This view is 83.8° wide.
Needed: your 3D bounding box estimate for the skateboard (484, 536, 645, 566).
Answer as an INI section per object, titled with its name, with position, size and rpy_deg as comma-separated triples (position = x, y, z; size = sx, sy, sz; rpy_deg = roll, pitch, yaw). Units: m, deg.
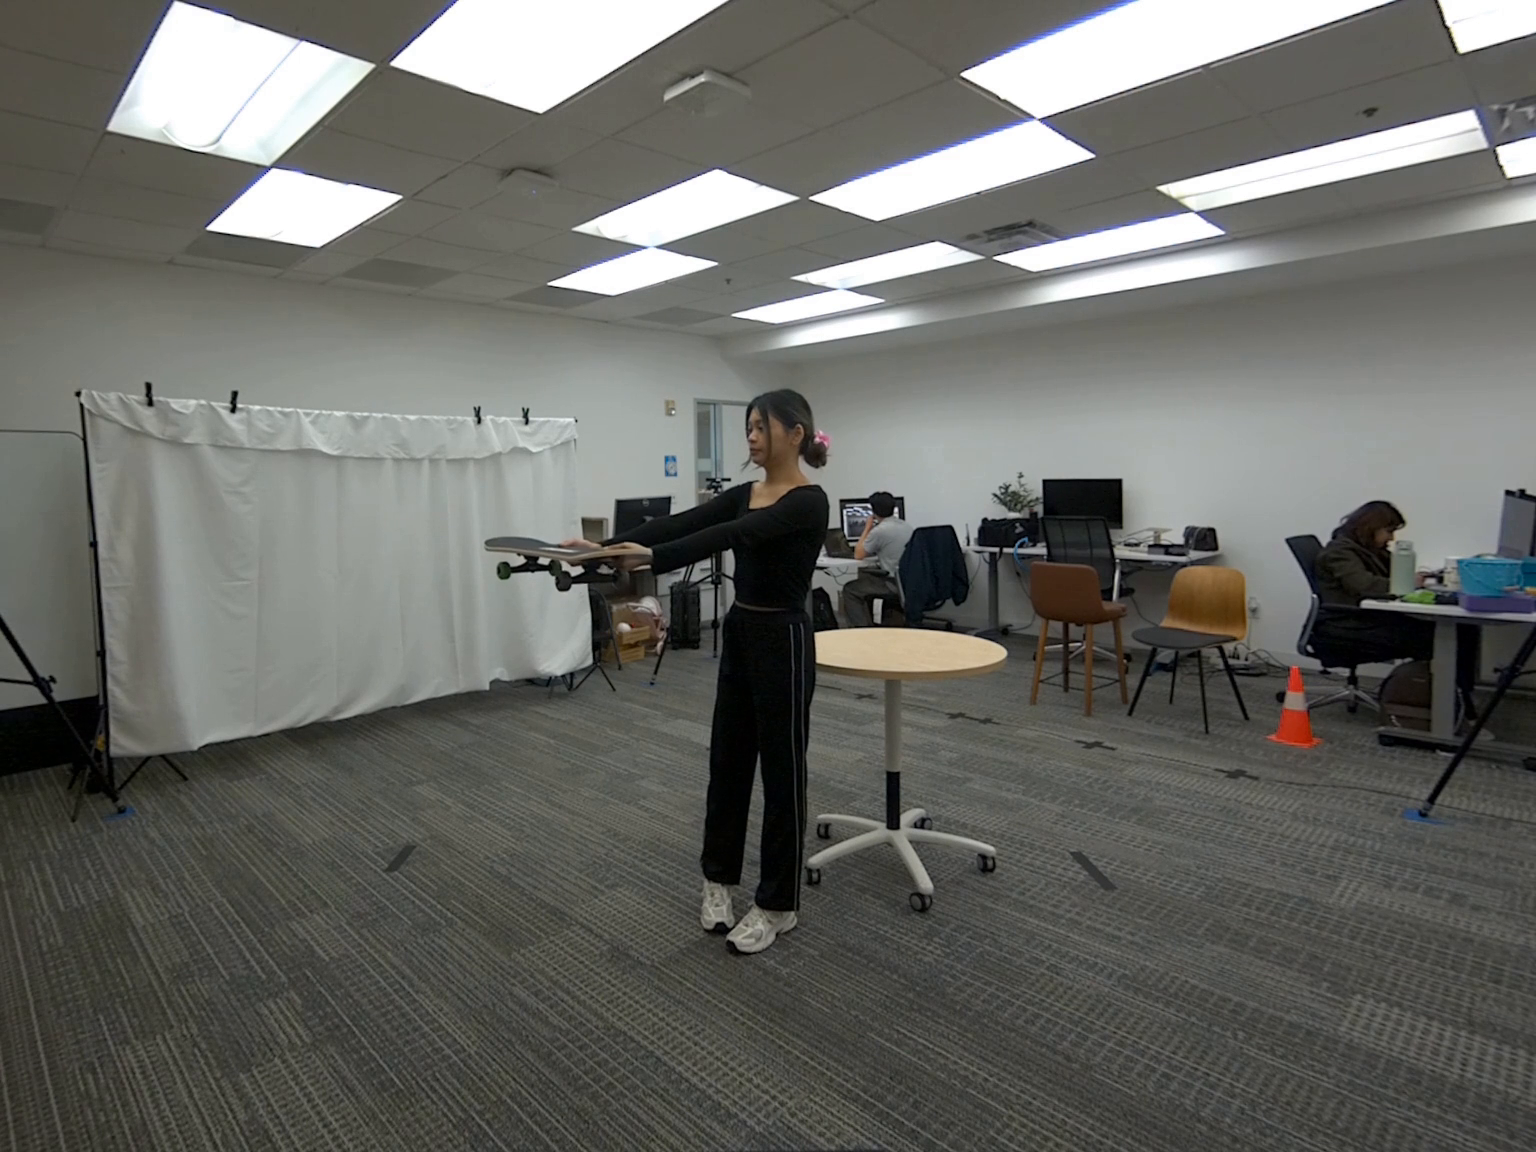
[skateboard]
position = -0.544, -0.033, 2.229
size = 0.188, 0.110, 0.809
rpy_deg = -6, 8, -37
